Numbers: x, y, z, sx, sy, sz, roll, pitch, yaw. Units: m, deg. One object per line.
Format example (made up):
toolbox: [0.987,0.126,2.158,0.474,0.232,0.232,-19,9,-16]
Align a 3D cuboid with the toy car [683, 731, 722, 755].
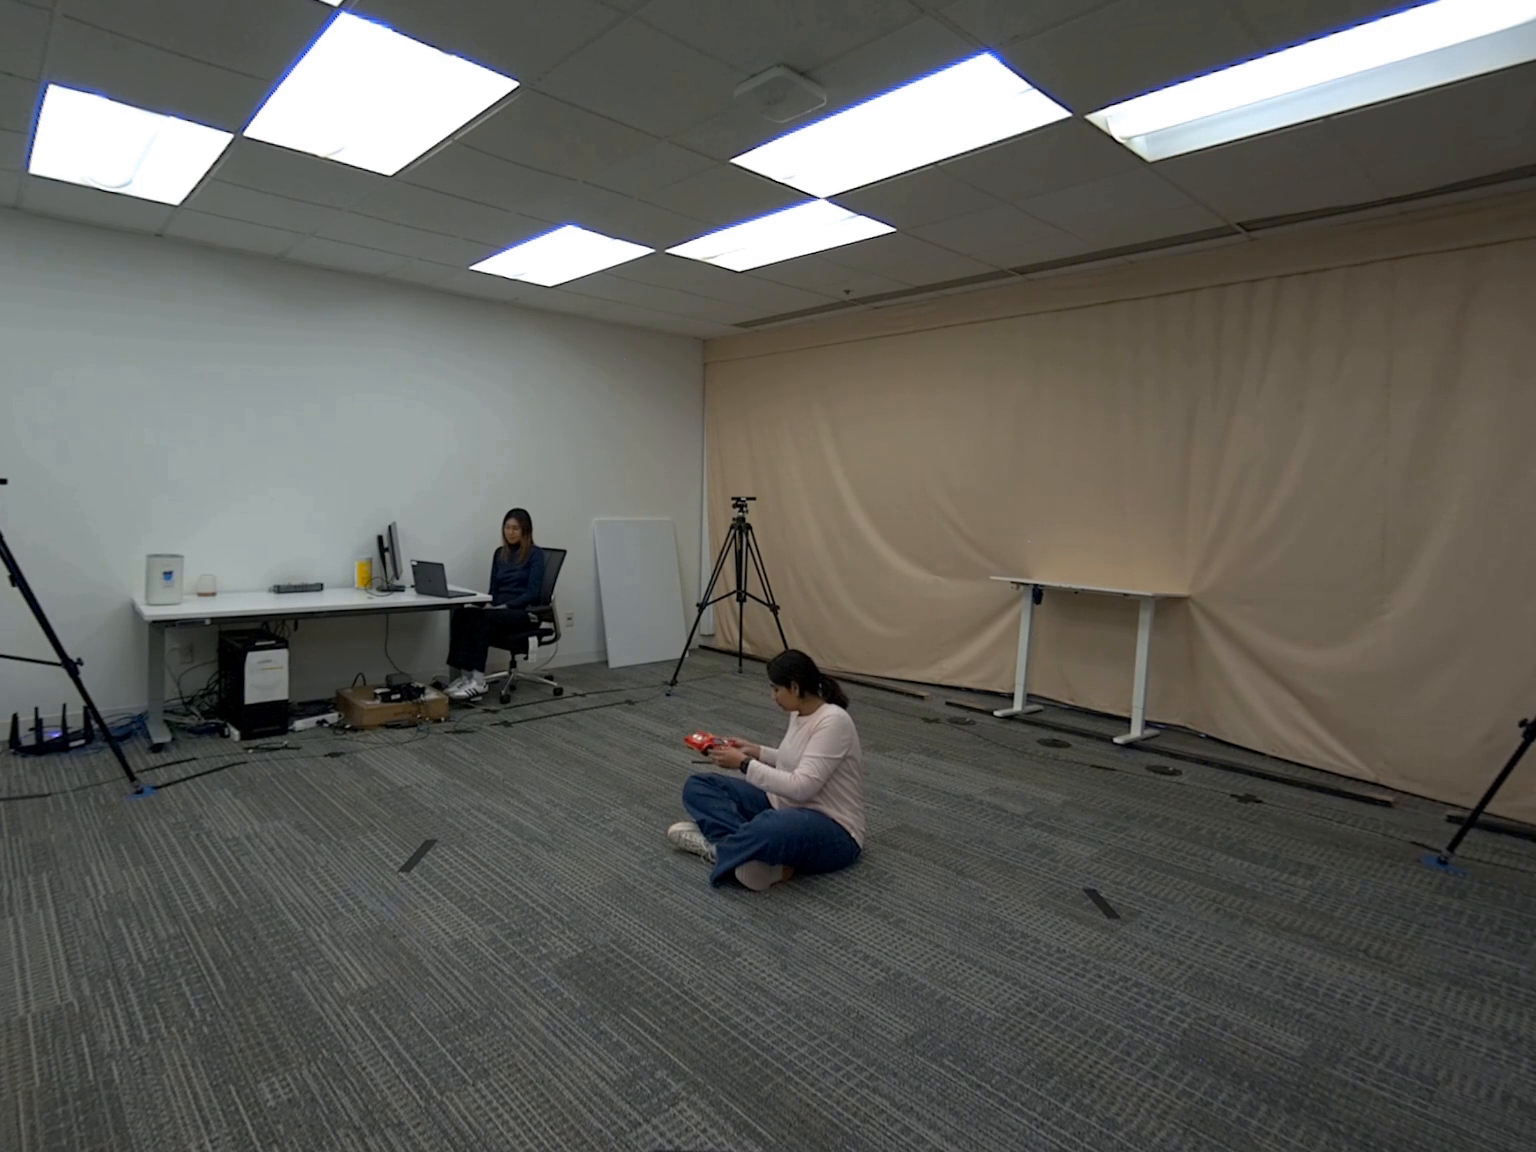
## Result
toy car: [-0.261,0.720,3.595,0.134,0.083,0.247,15,-9,43]
